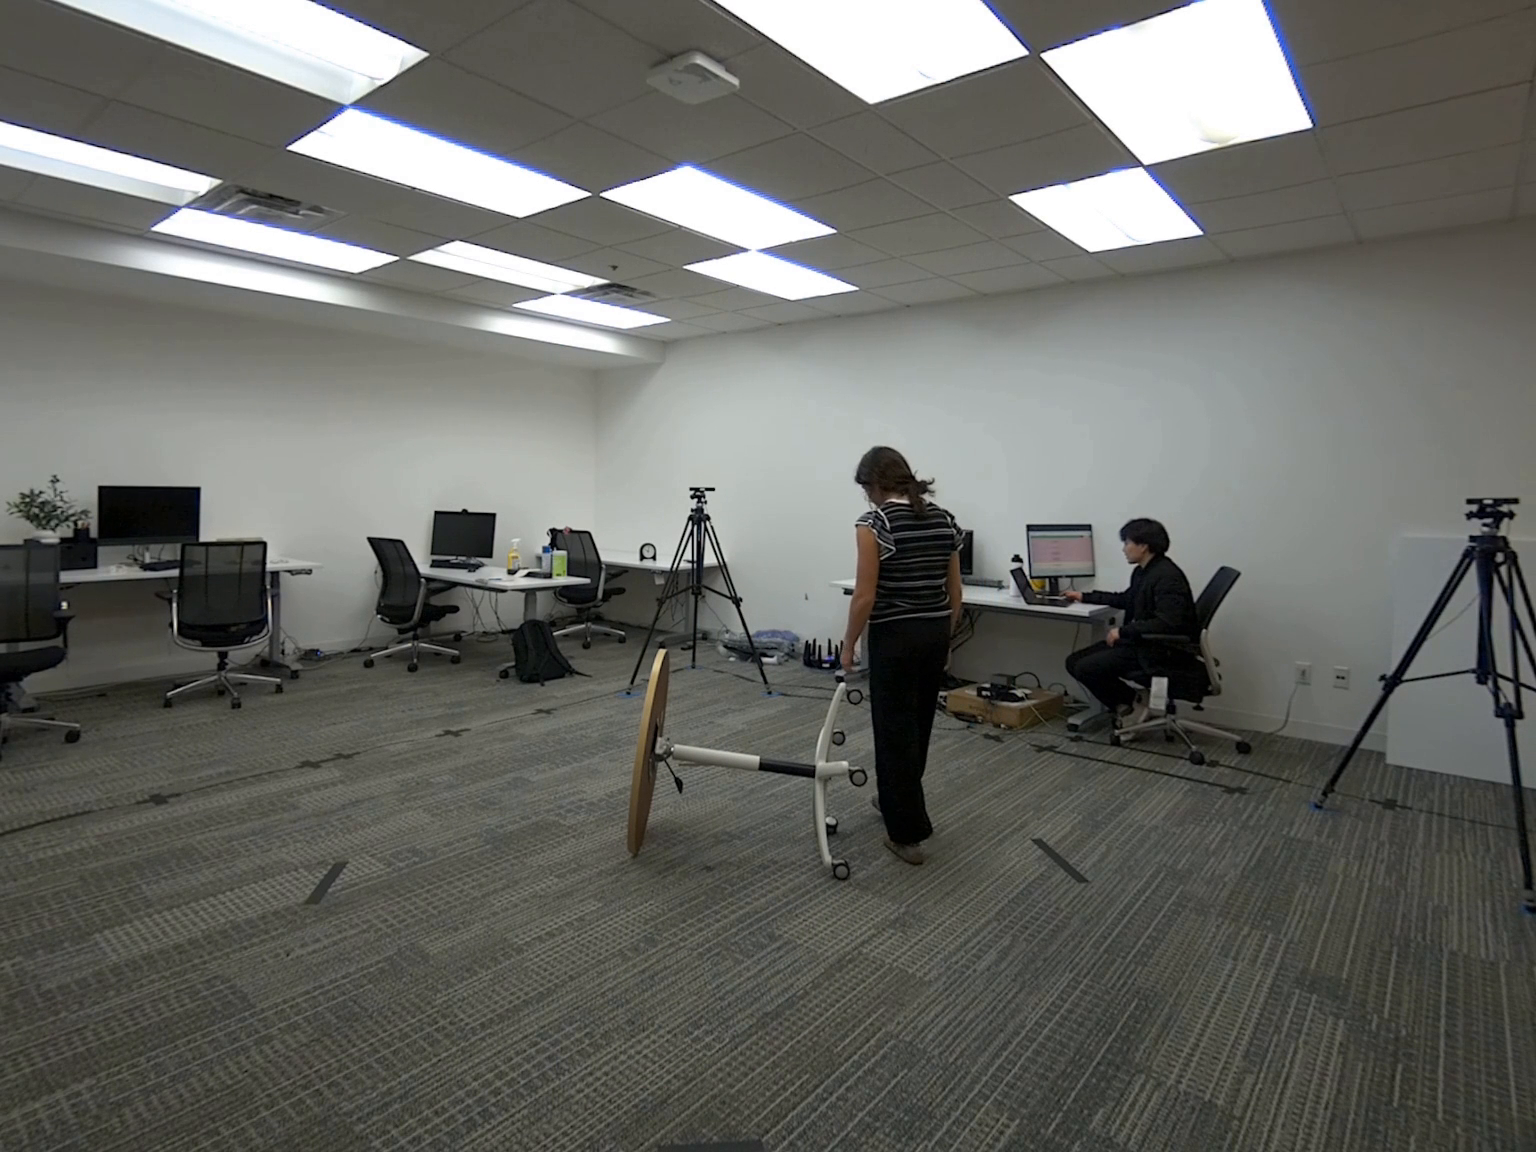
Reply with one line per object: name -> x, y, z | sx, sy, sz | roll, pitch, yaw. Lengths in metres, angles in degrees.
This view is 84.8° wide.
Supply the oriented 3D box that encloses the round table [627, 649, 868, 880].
round table -> -0.083, 0.715, 3.286 | 0.788, 0.783, 0.786 | 8, 4, 1
